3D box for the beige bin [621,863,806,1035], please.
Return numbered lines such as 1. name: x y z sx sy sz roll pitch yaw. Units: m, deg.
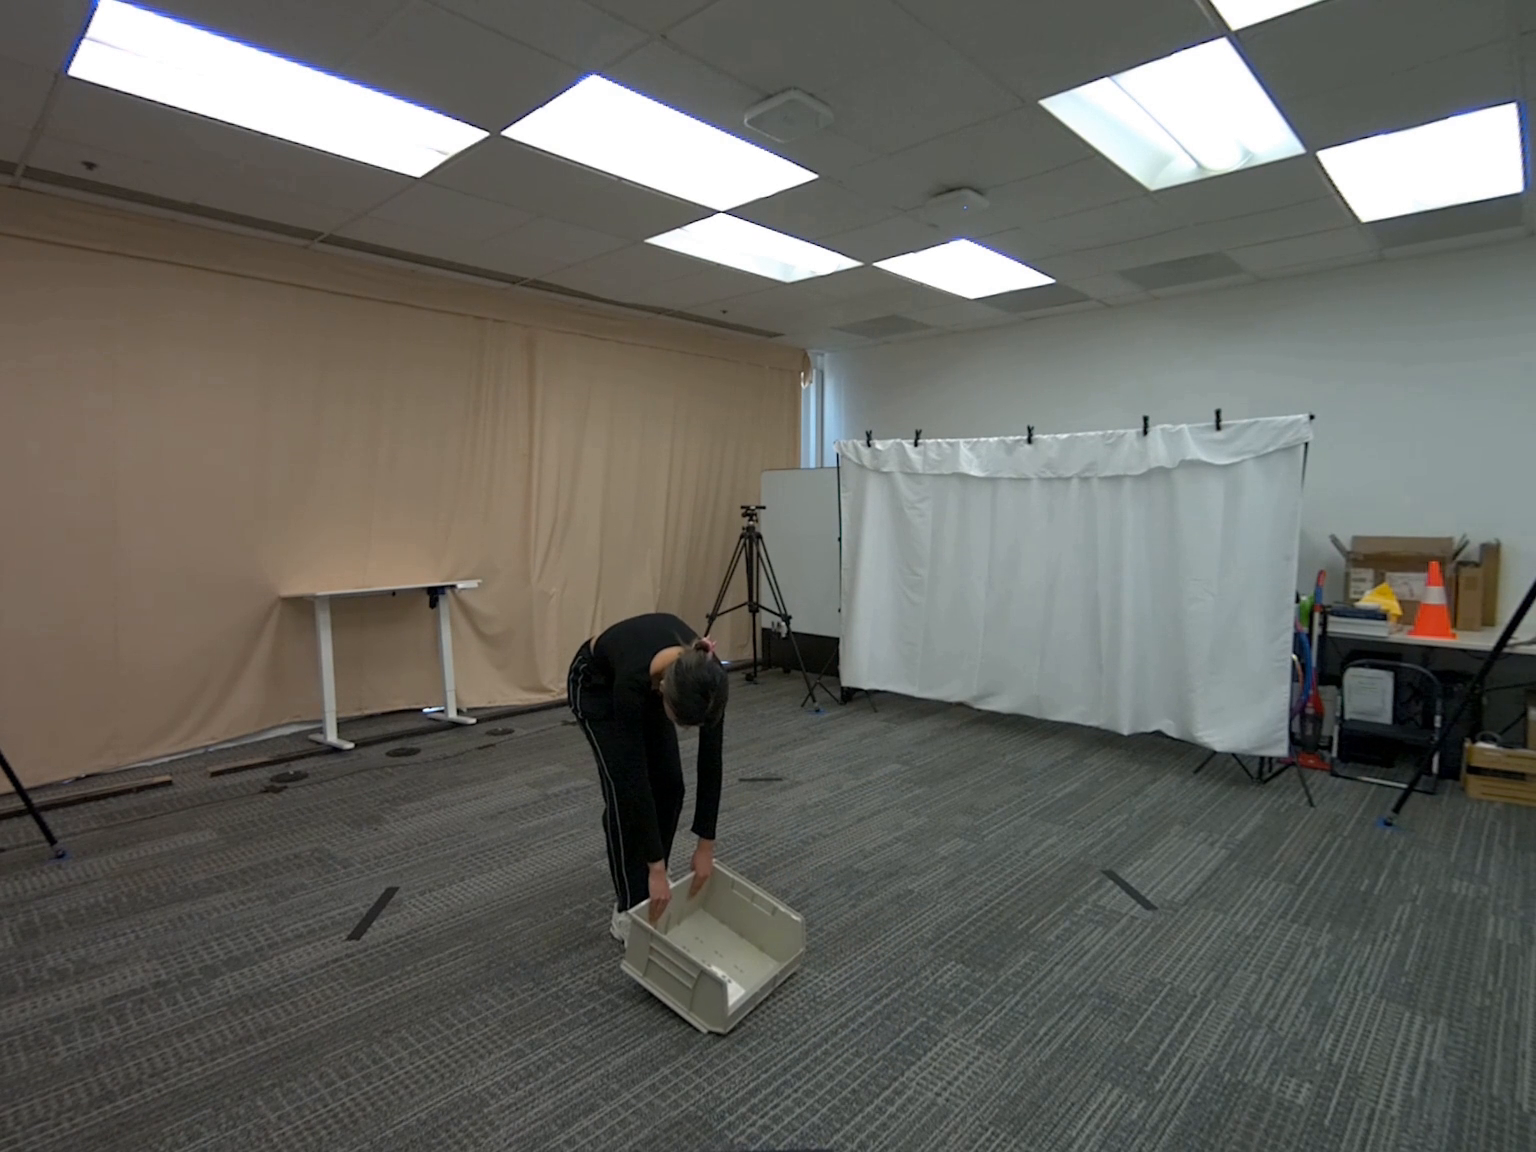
1. beige bin: -0.136 1.067 2.438 0.389 0.188 0.411 20 15 29
